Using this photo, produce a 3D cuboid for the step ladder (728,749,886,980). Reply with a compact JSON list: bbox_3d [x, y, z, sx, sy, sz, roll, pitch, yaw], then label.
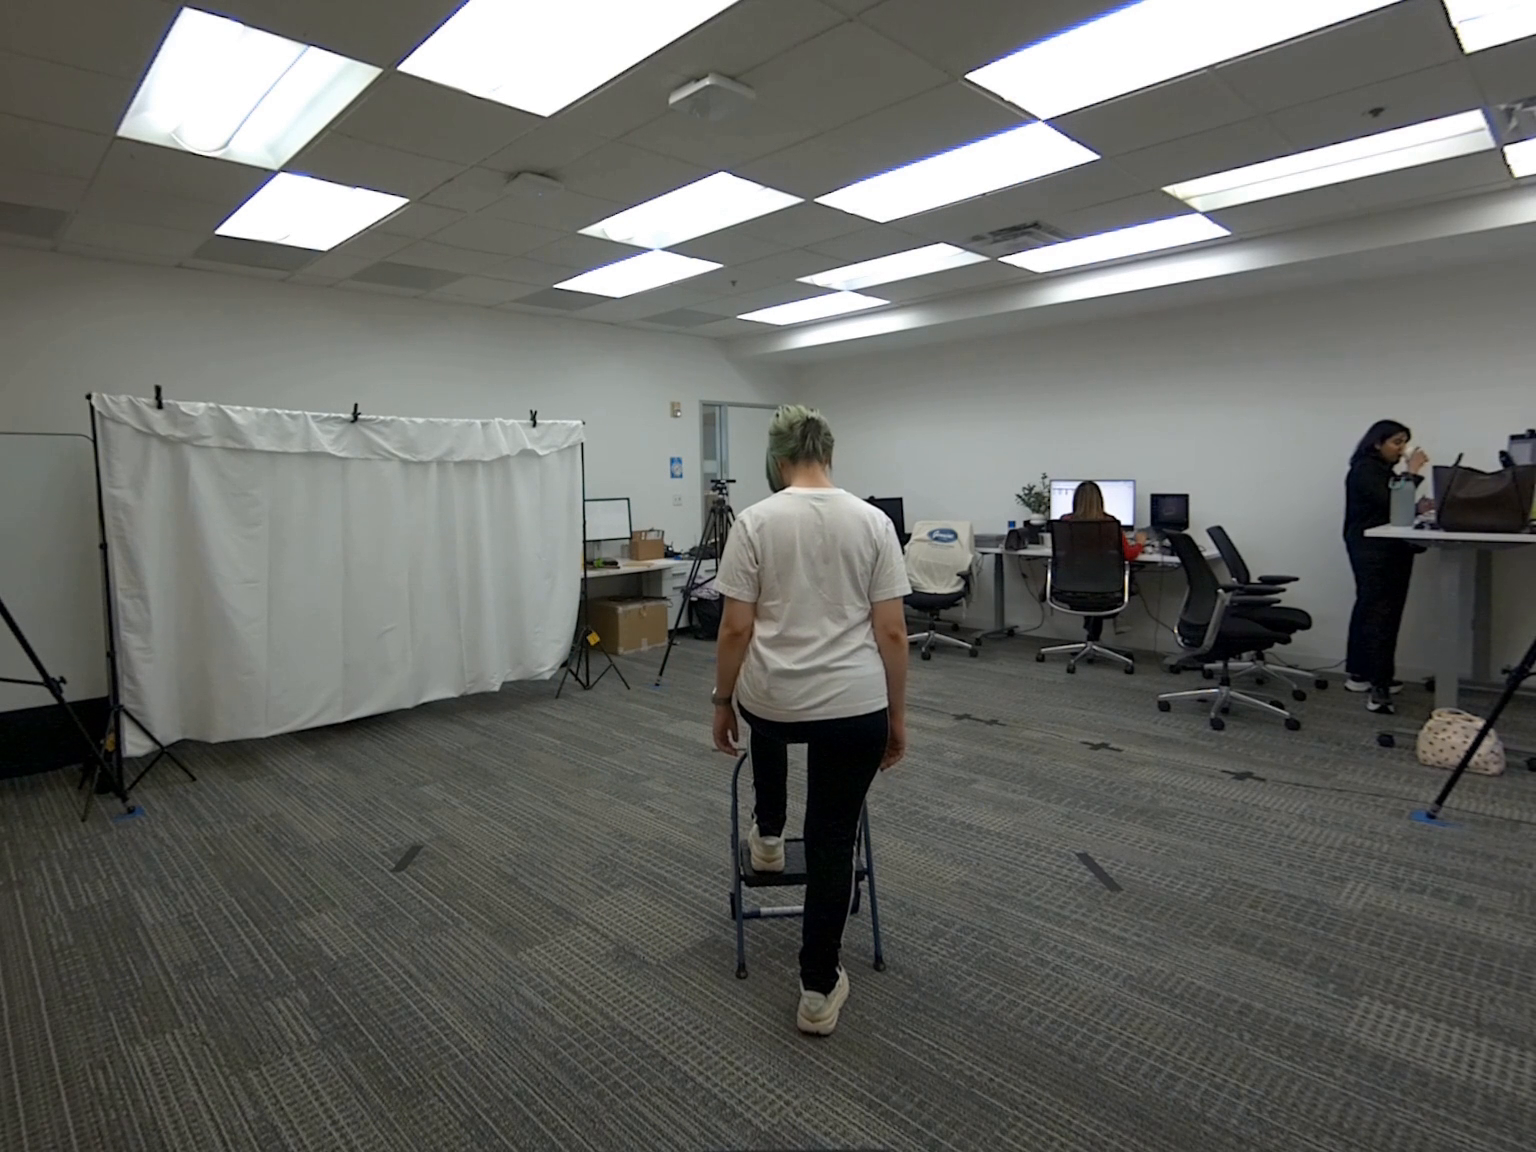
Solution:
[{"bbox_3d":[0.106,0.810,2.562,0.429,0.603,0.352,-1,5,-5],"label":"step ladder"}]
